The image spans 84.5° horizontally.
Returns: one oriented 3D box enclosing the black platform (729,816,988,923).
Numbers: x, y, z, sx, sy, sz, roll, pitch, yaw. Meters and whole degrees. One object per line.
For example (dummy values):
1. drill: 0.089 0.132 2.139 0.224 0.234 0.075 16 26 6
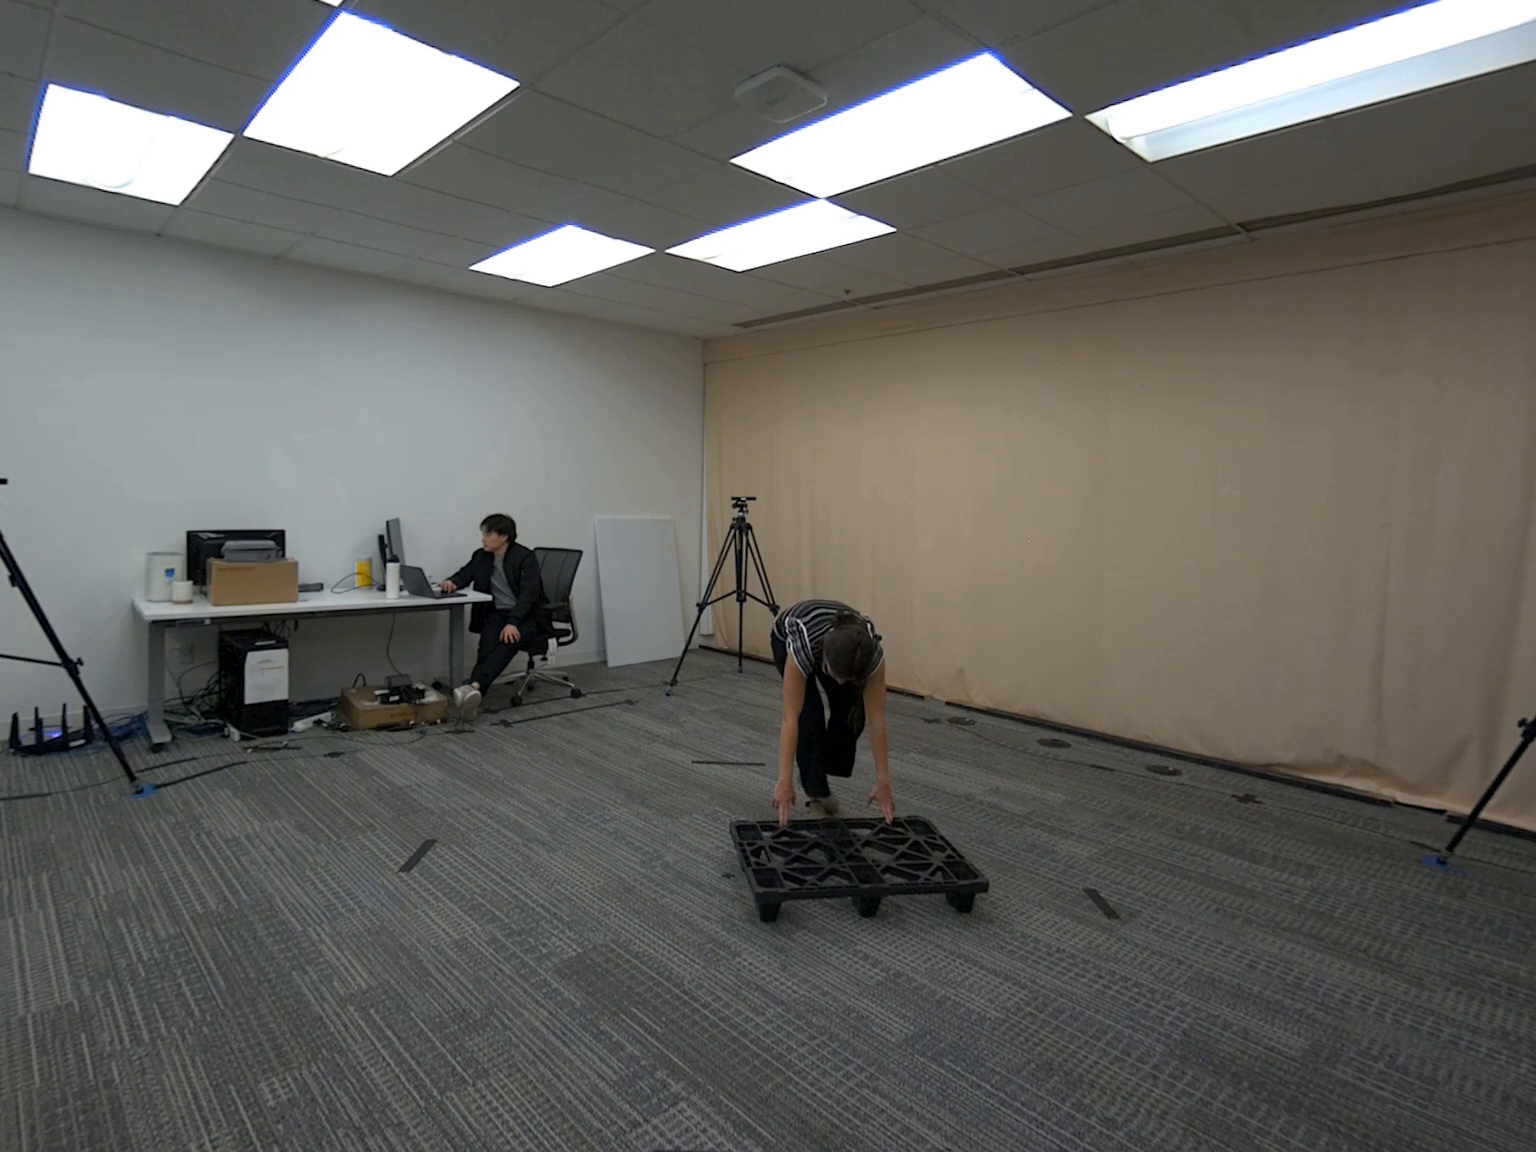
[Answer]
1. black platform: 0.288 1.052 3.043 0.800 0.143 0.611 0 6 -9
